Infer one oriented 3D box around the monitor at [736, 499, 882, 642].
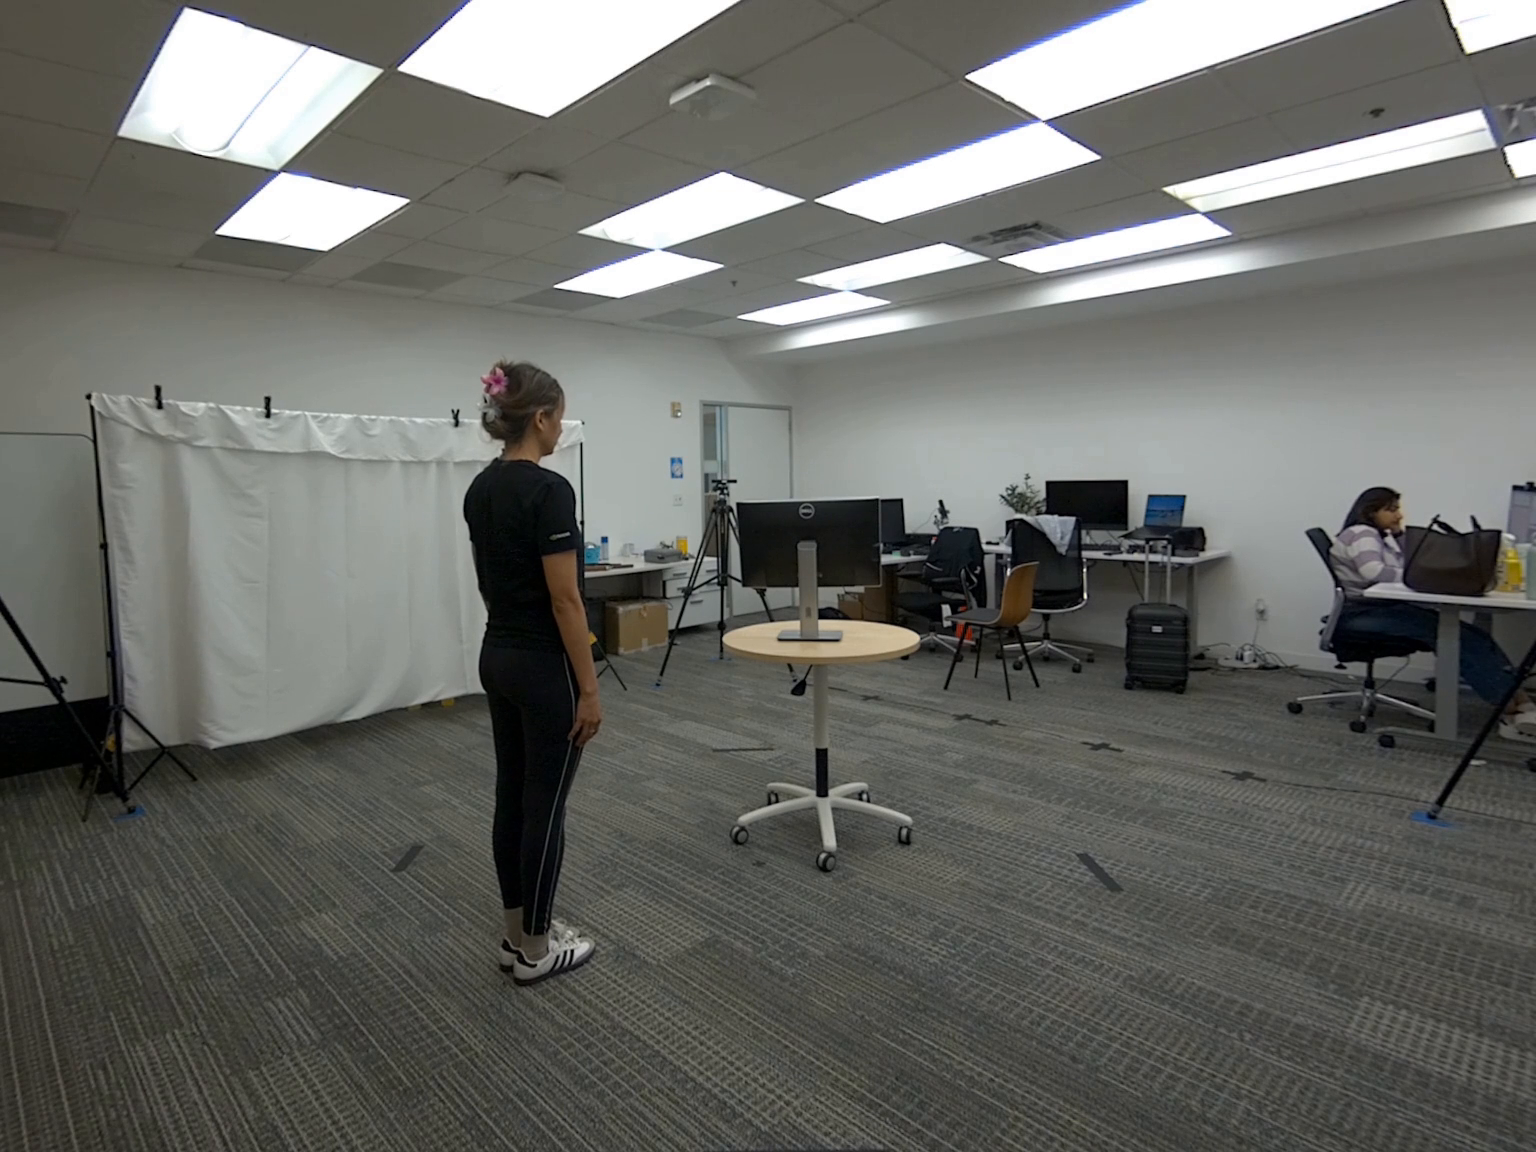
[{"bbox_3d":[0.156,-0.024,3.330,0.544,0.521,0.186,-1,3,9],"label":"monitor"}]
